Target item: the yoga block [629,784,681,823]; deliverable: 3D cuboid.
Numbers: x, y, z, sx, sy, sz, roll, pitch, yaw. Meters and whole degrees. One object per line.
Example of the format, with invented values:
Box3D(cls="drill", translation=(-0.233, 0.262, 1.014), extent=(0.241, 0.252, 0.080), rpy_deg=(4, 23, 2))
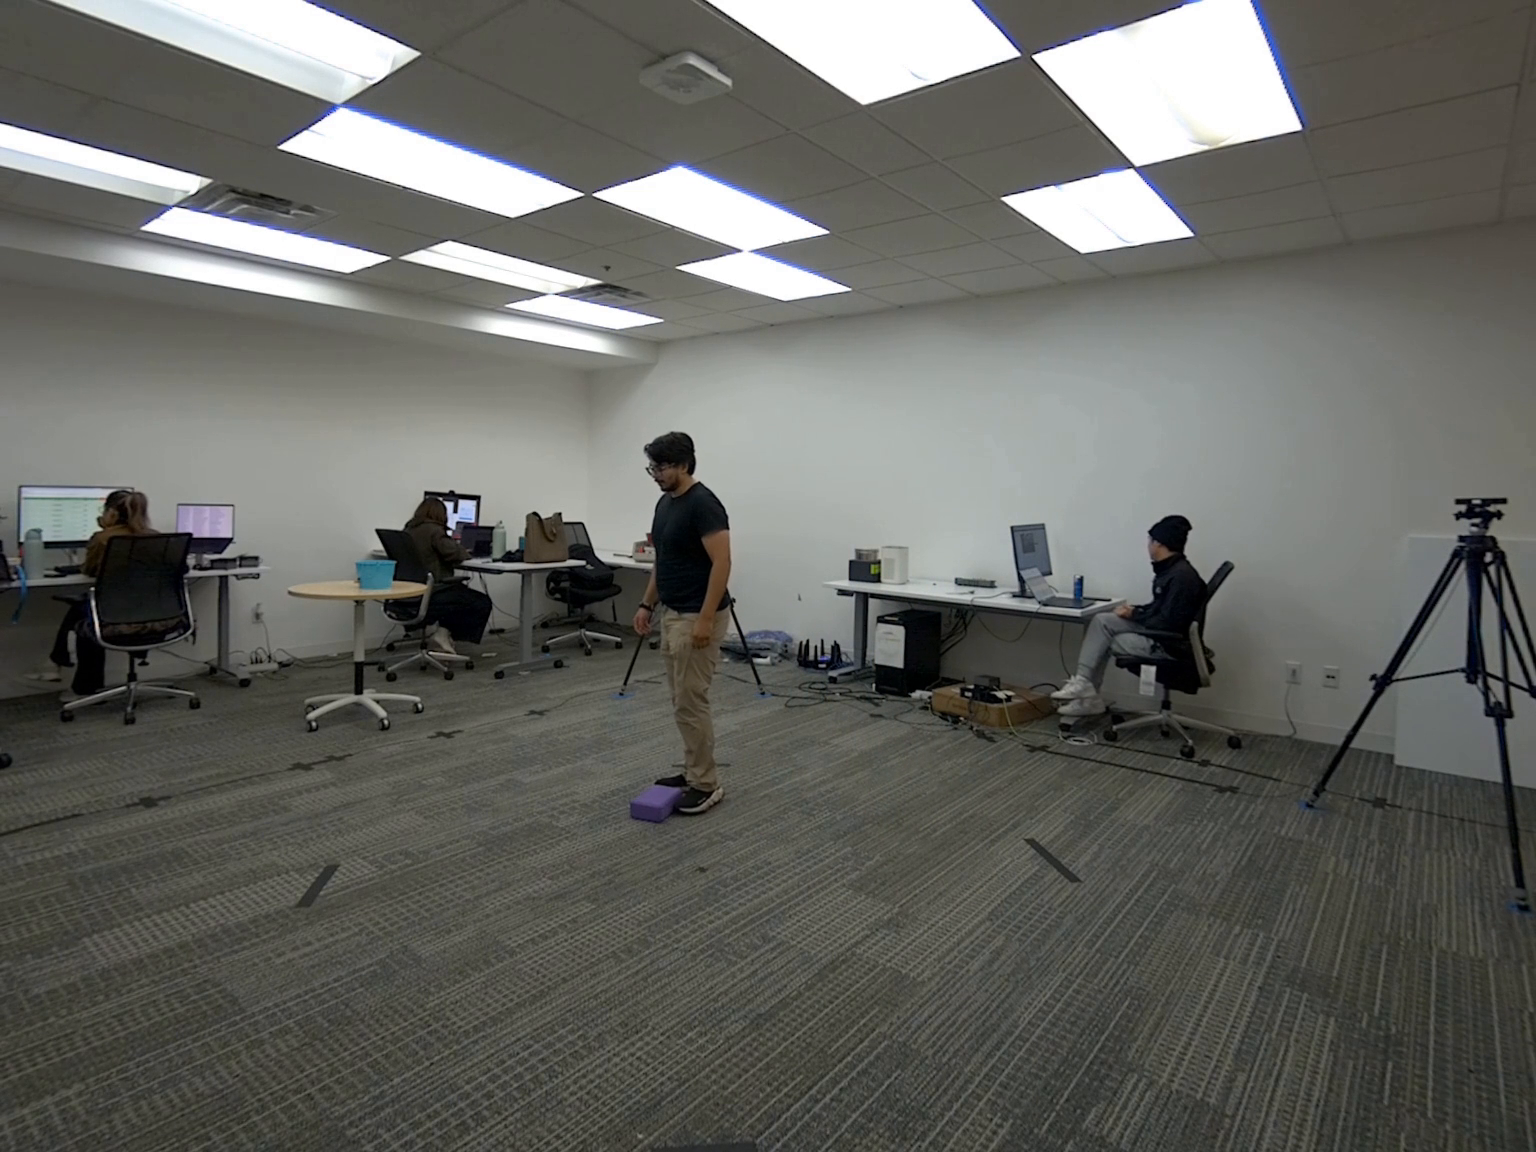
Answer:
Box3D(cls="yoga block", translation=(-0.489, 0.972, 3.658), extent=(0.152, 0.076, 0.226), rpy_deg=(2, 6, 18))
